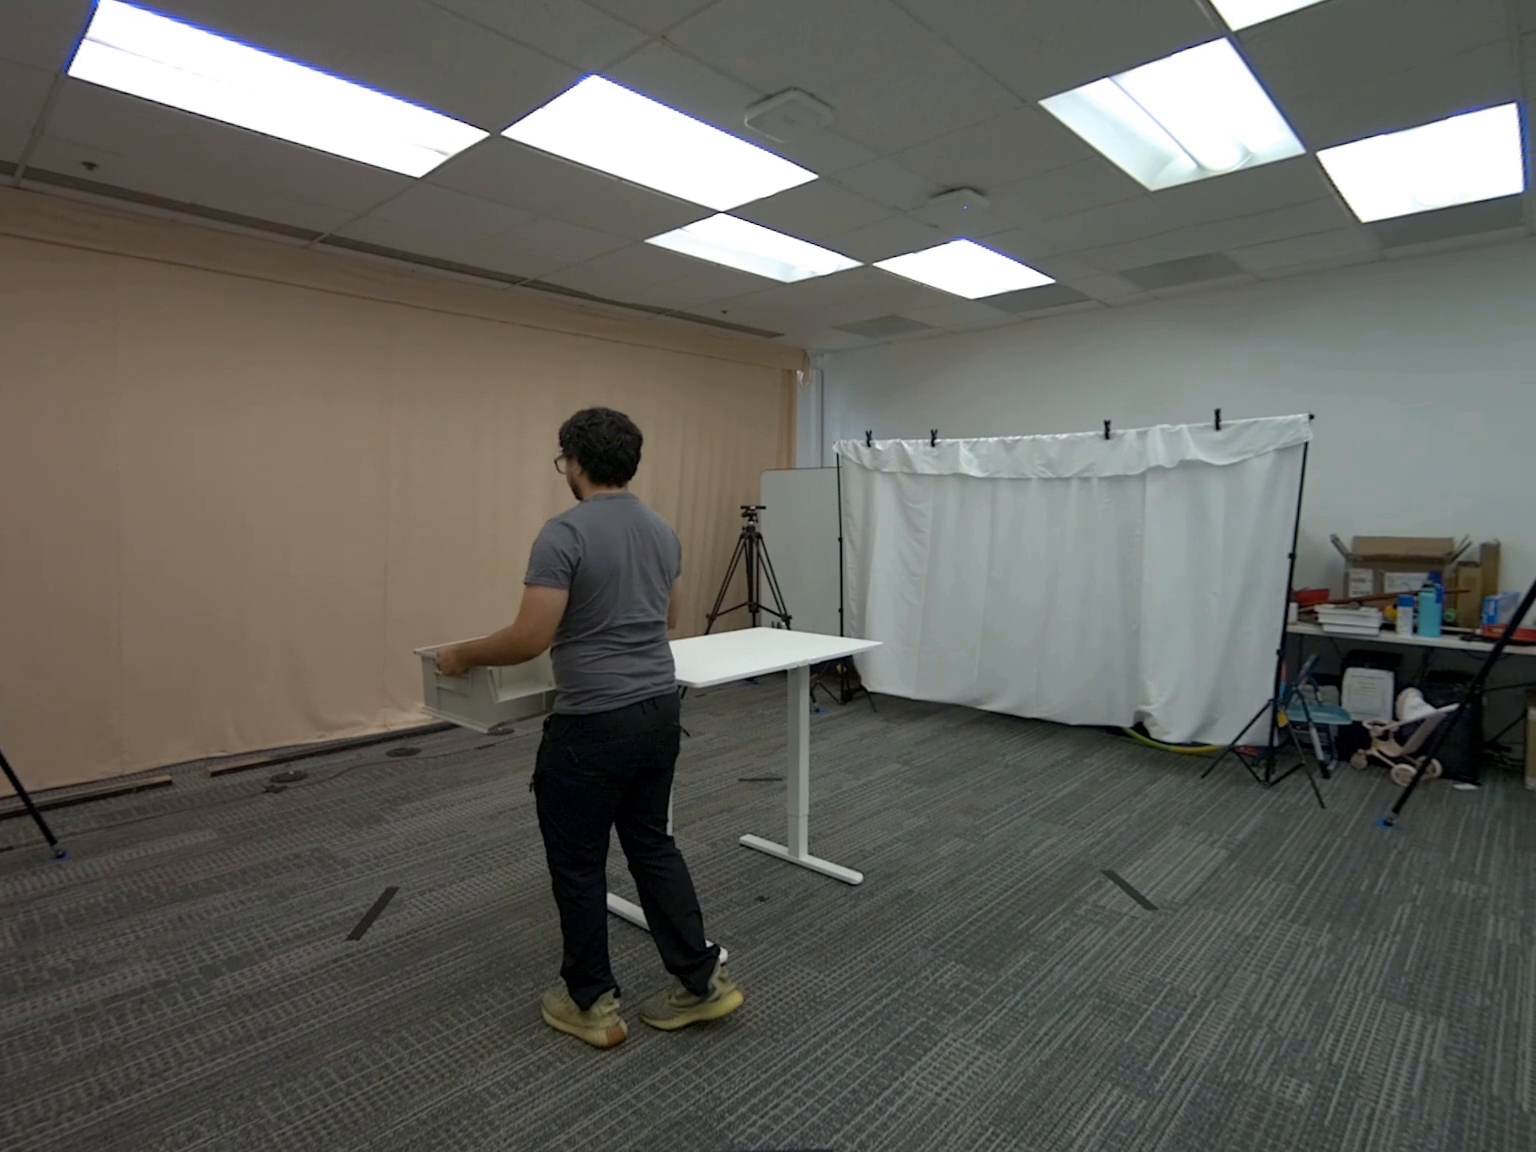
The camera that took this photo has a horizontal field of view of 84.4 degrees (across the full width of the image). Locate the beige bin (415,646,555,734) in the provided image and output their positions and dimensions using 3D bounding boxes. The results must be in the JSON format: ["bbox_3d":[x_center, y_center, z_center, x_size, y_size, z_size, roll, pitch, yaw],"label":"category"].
[{"bbox_3d":[-0.706,0.286,2.405,0.390,0.188,0.410,3,9,38],"label":"beige bin"}]
